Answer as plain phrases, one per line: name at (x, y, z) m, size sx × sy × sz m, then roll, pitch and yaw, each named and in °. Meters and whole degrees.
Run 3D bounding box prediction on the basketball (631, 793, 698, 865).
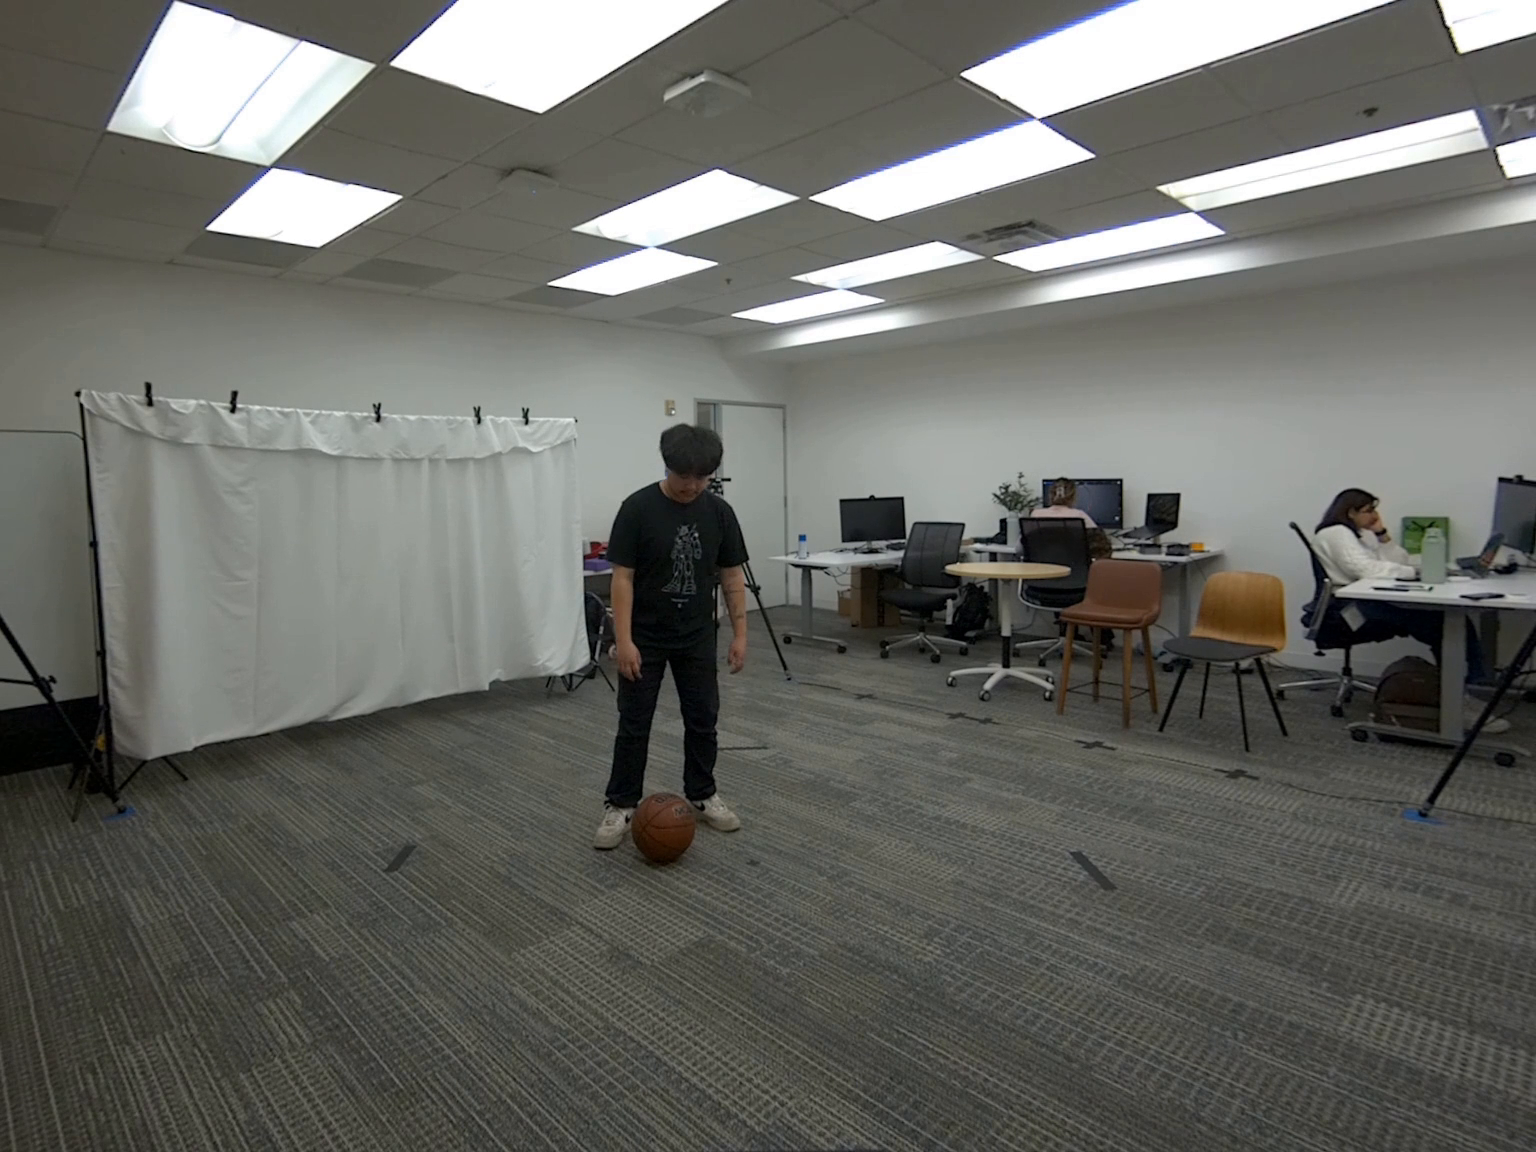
basketball at (-0.379, 0.924, 3.152) m, size 0.236 × 0.235 × 0.237 m, roll -1°, pitch 5°, yaw -2°
